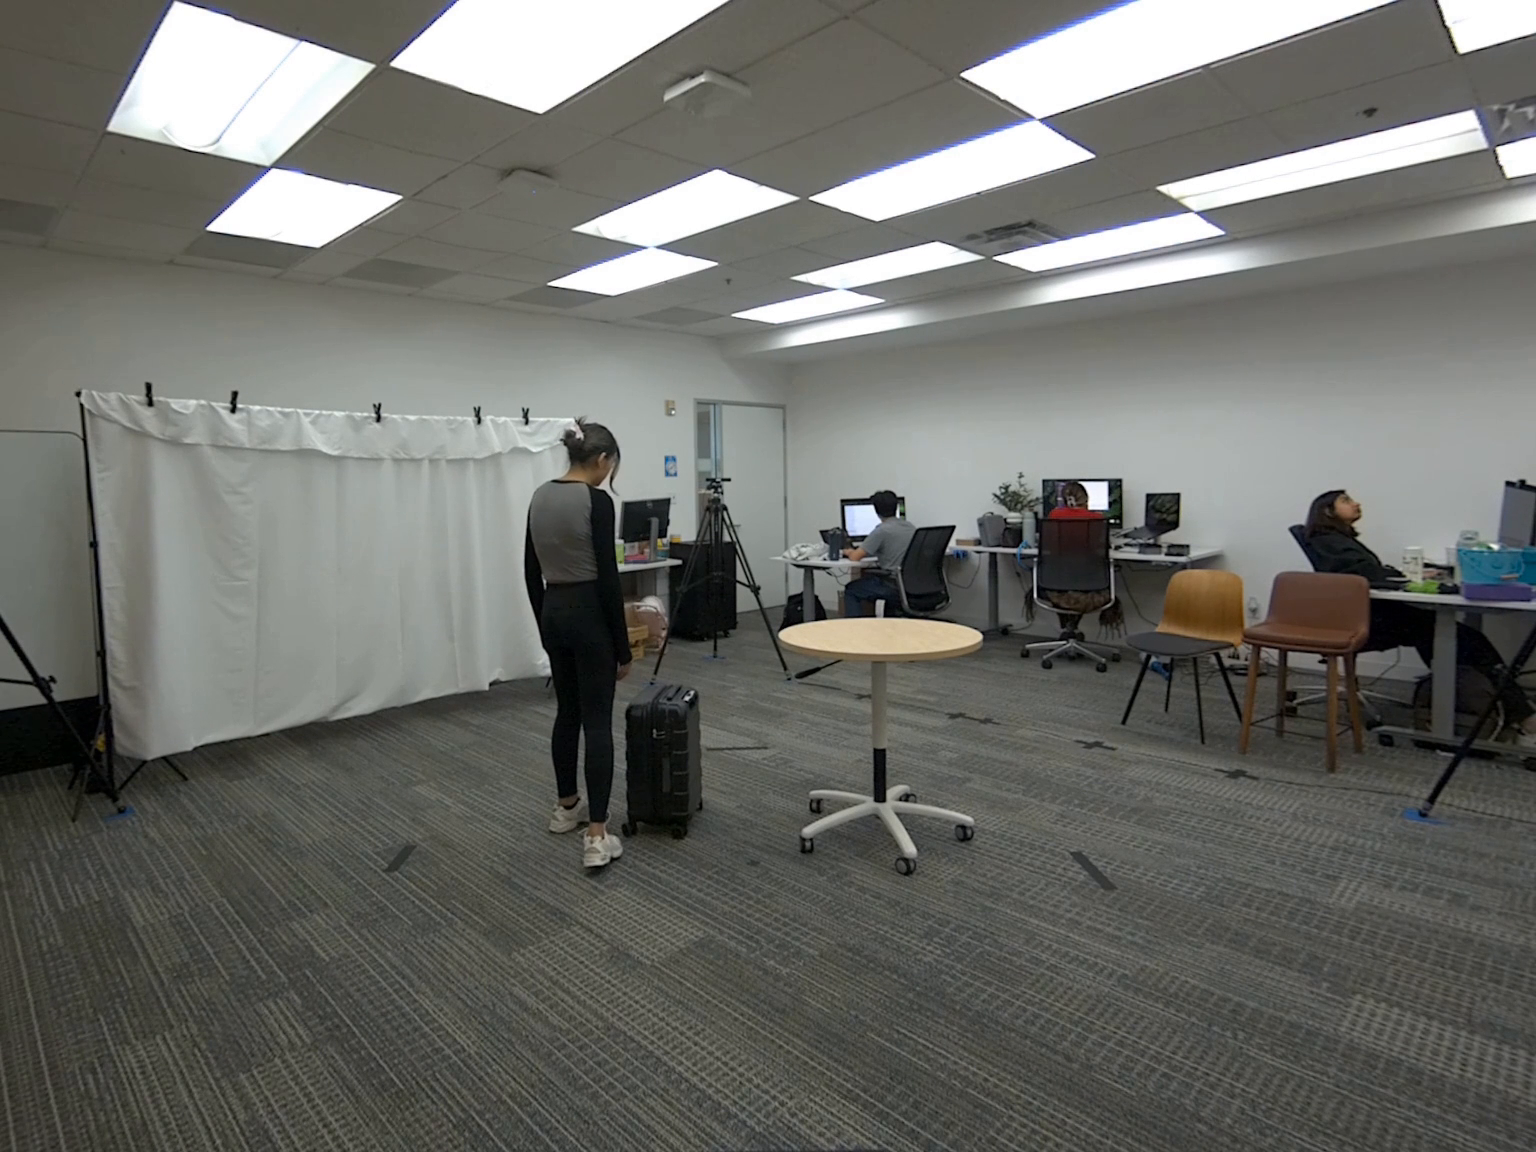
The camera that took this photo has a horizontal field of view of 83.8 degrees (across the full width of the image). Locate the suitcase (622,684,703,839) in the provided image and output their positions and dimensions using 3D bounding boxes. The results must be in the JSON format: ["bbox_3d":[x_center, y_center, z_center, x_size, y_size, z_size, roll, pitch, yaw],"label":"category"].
[{"bbox_3d":[-0.430,0.739,3.472,0.250,0.547,0.374,-2,5,6],"label":"suitcase"}]
